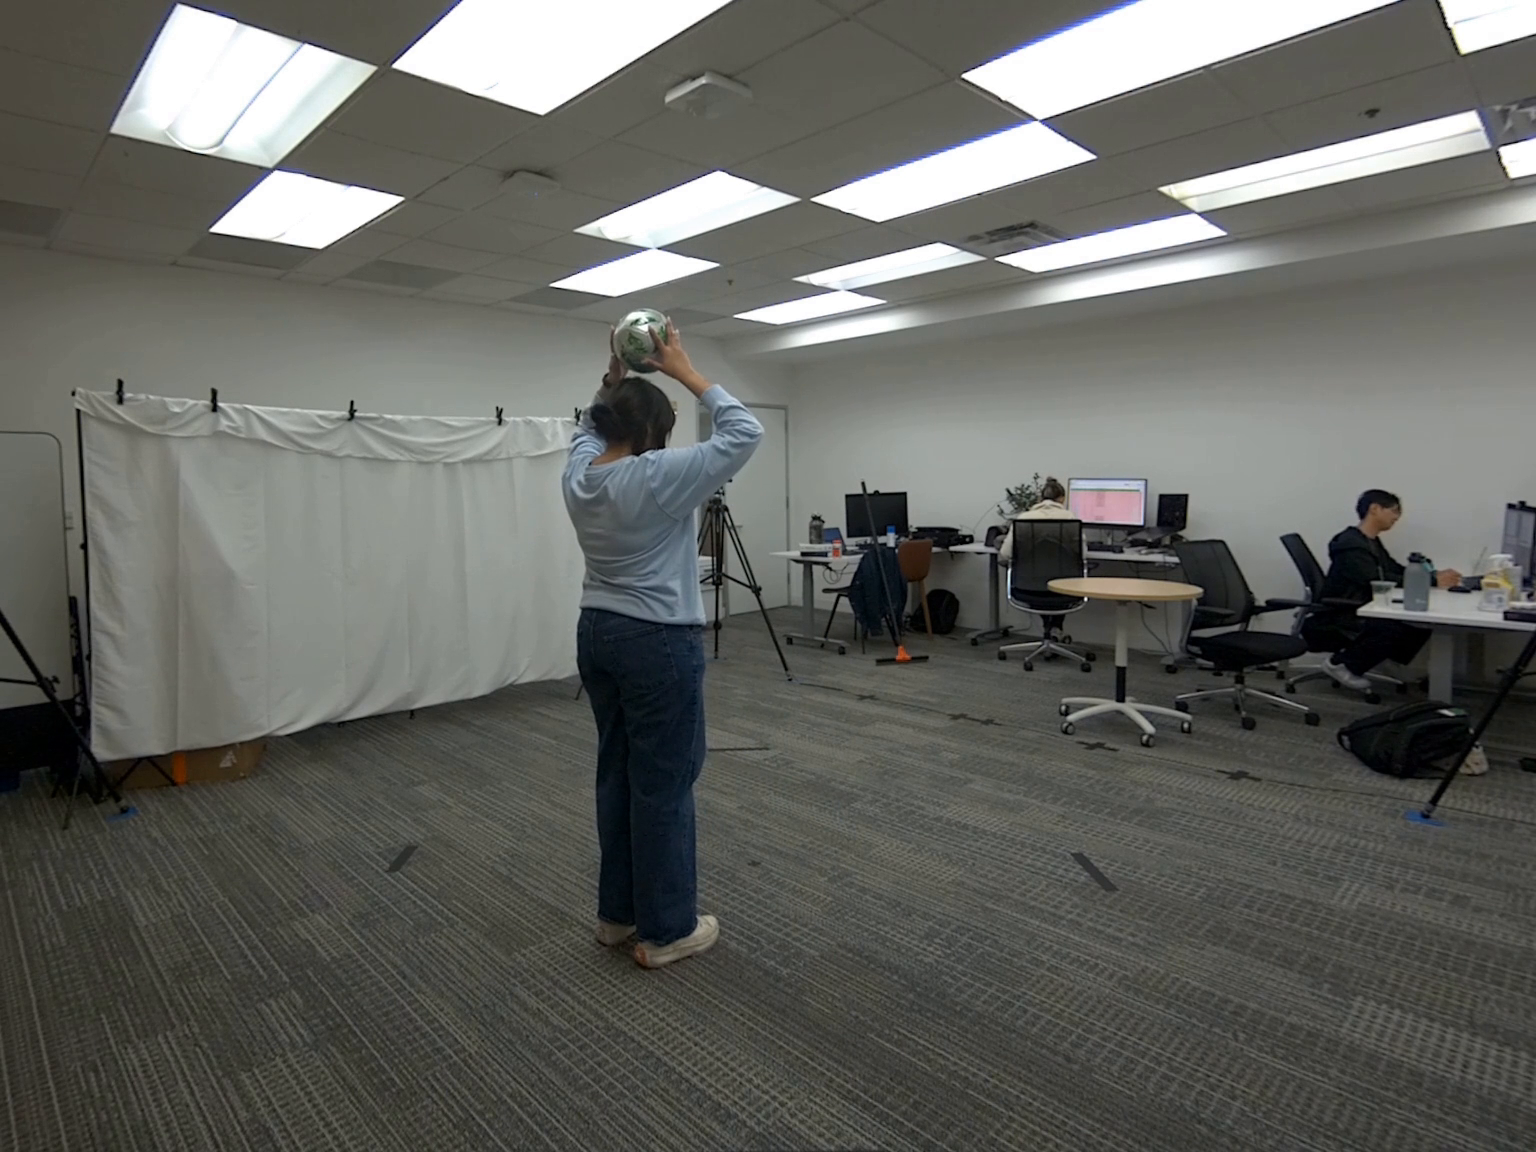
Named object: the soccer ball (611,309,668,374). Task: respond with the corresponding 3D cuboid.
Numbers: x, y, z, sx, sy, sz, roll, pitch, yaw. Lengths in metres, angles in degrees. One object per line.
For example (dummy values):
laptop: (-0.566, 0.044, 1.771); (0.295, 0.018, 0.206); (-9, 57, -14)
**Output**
soccer ball: (-0.359, -0.694, 2.526); (0.187, 0.187, 0.188); (-1, 5, -2)
